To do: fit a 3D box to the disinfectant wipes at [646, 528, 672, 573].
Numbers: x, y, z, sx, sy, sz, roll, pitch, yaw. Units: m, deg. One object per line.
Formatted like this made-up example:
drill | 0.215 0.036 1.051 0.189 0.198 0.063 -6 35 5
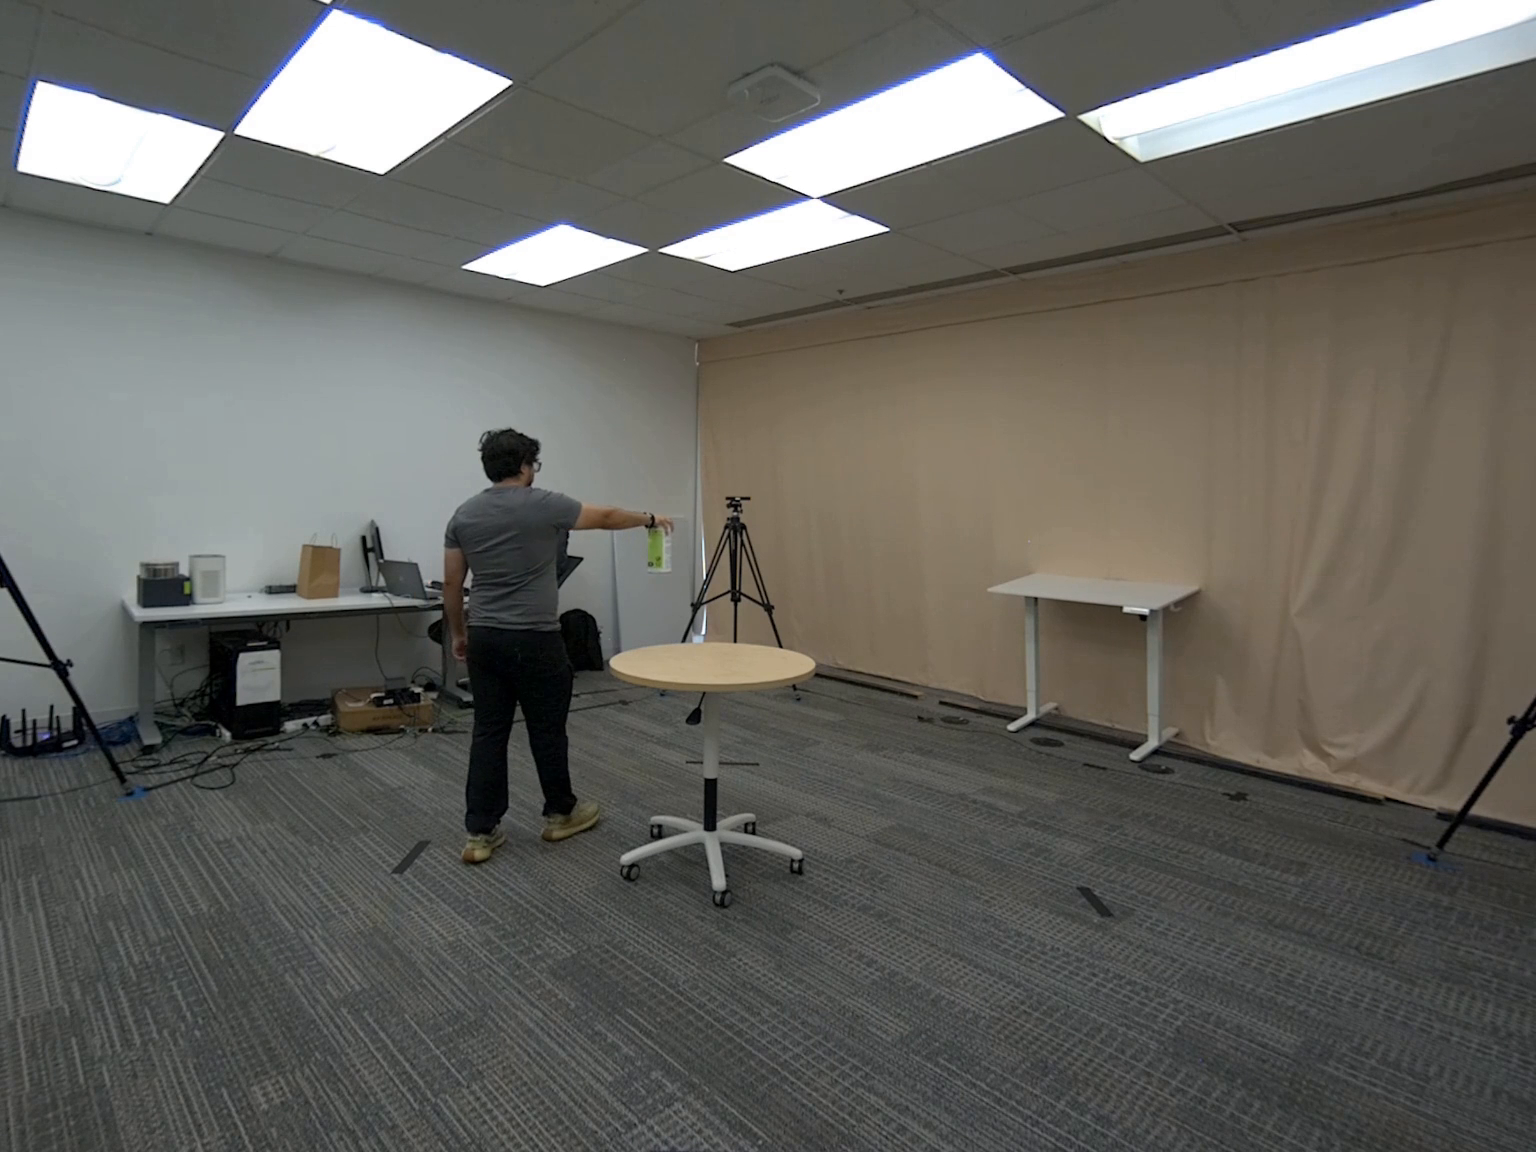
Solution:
disinfectant wipes | -0.484 -0.124 3.725 0.118 0.217 0.118 0 2 -1
